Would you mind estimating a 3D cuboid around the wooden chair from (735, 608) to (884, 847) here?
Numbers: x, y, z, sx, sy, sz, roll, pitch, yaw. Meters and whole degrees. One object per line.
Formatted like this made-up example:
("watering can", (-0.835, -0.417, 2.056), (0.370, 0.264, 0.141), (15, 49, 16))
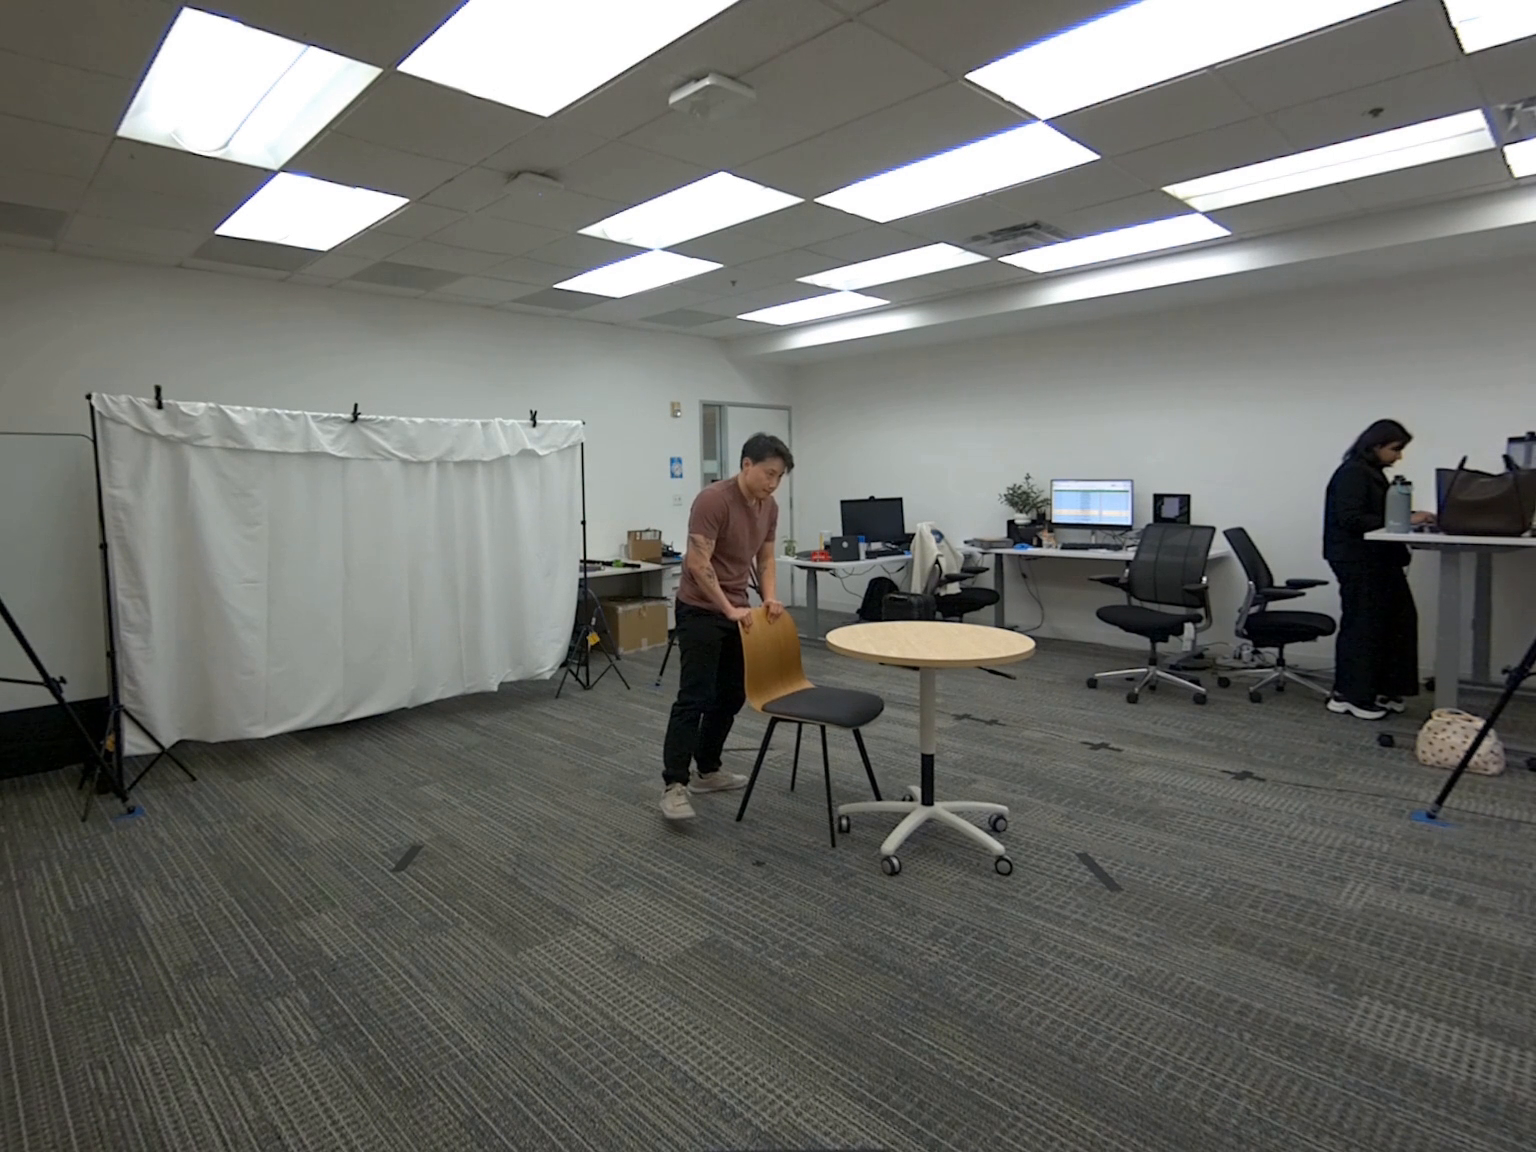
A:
("wooden chair", (0.182, 0.572, 3.504), (0.537, 0.877, 0.466), (-3, 1, 34))
